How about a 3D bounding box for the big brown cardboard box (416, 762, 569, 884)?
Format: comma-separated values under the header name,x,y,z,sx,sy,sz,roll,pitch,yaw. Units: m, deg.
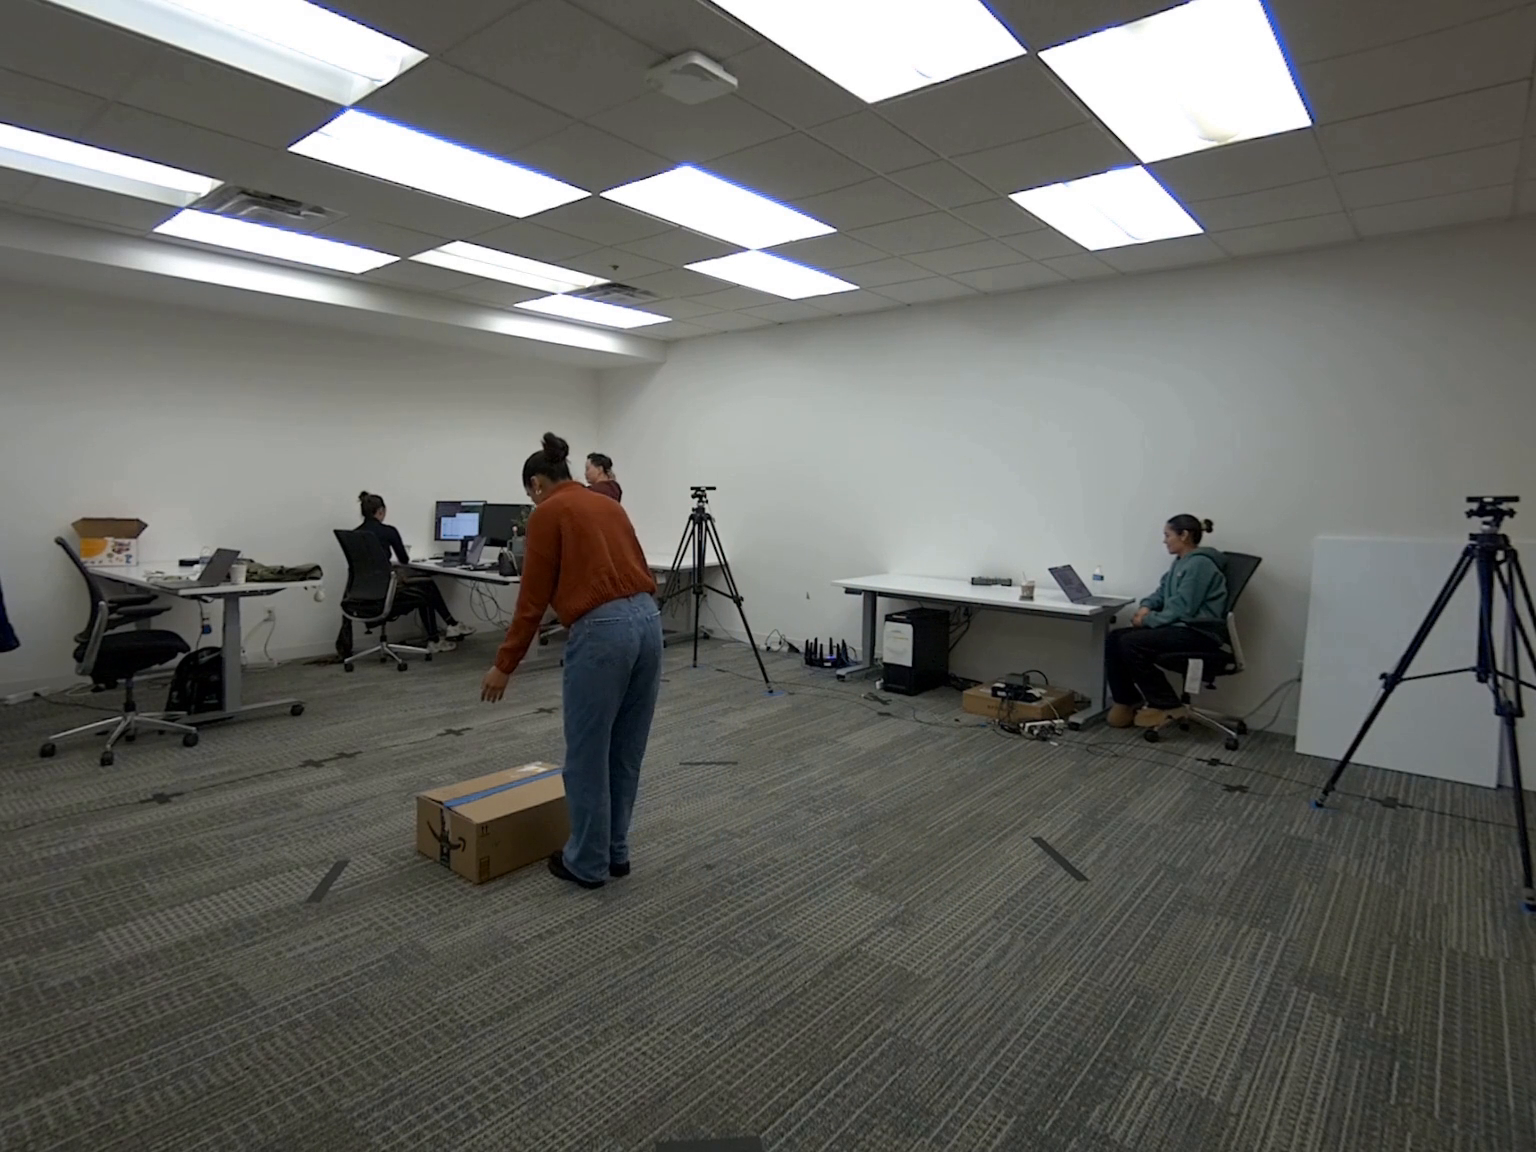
name,x,y,z,sx,sy,sz,roll,pitch,yaw
big brown cardboard box,-1.006,0.924,3.288,0.431,0.232,0.572,5,7,39
